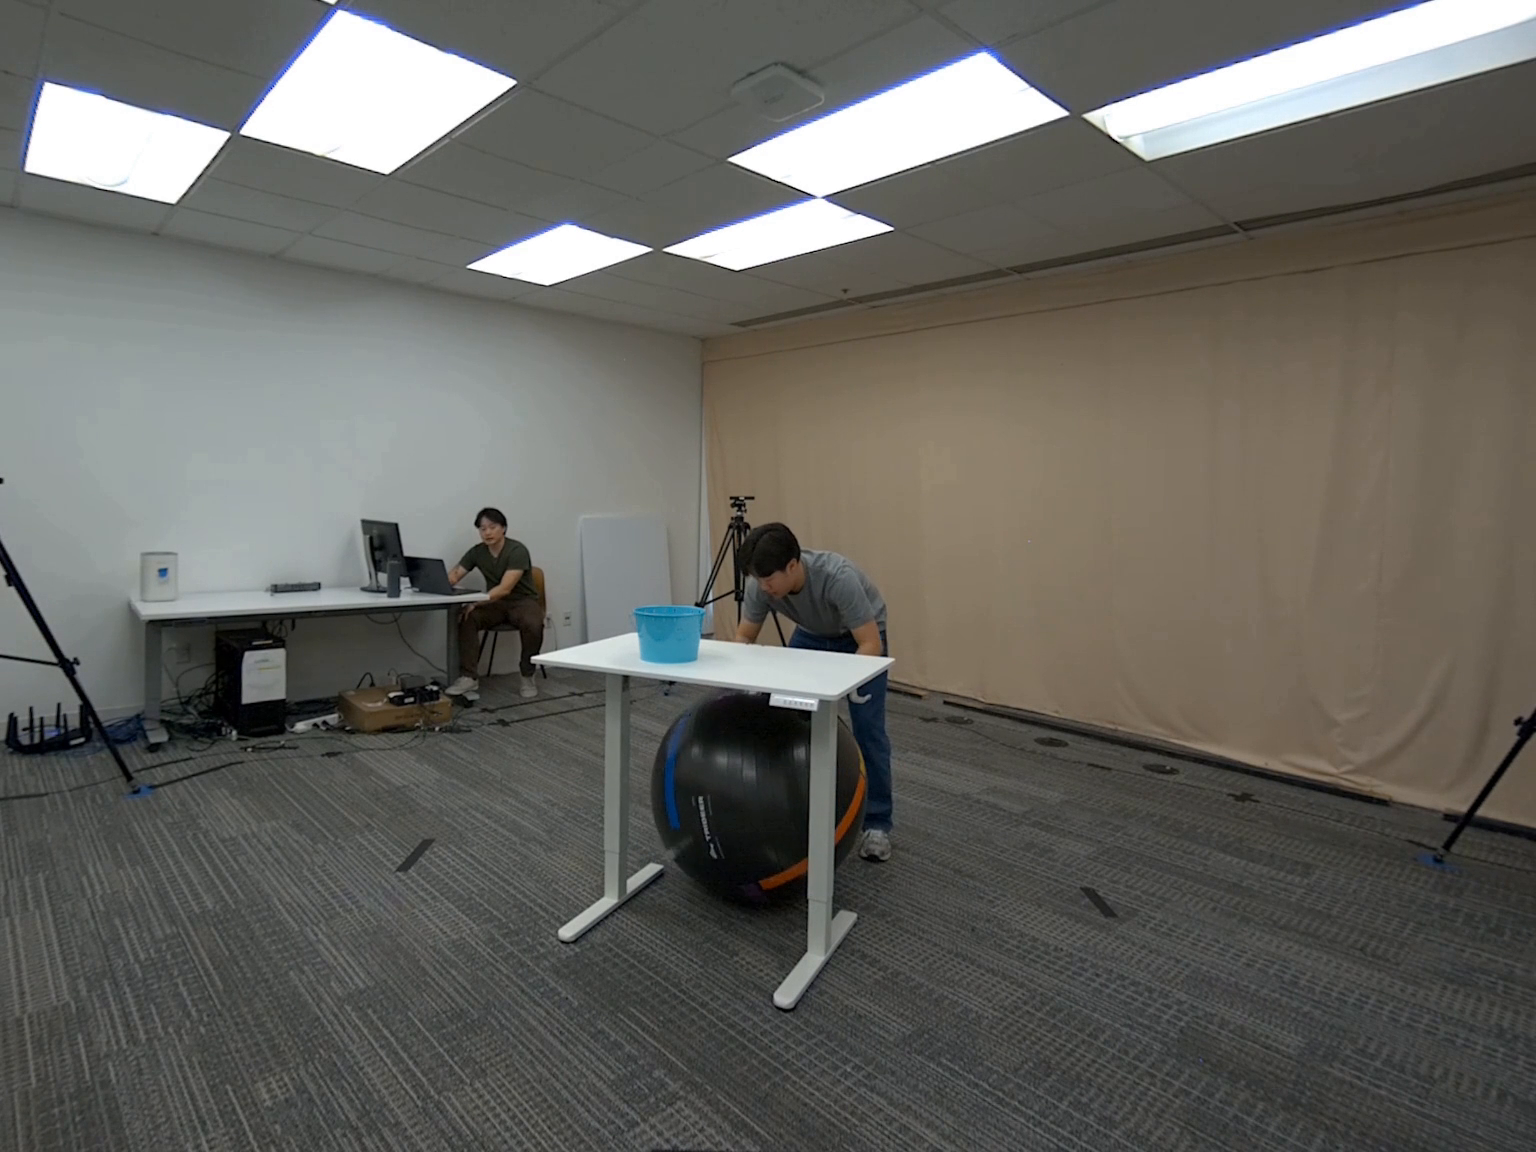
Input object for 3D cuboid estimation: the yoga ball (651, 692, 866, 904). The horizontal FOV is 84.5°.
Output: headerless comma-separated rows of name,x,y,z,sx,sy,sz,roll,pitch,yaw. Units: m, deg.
yoga ball,-0.034,0.750,2.971,0.757,0.756,0.761,1,4,-1
